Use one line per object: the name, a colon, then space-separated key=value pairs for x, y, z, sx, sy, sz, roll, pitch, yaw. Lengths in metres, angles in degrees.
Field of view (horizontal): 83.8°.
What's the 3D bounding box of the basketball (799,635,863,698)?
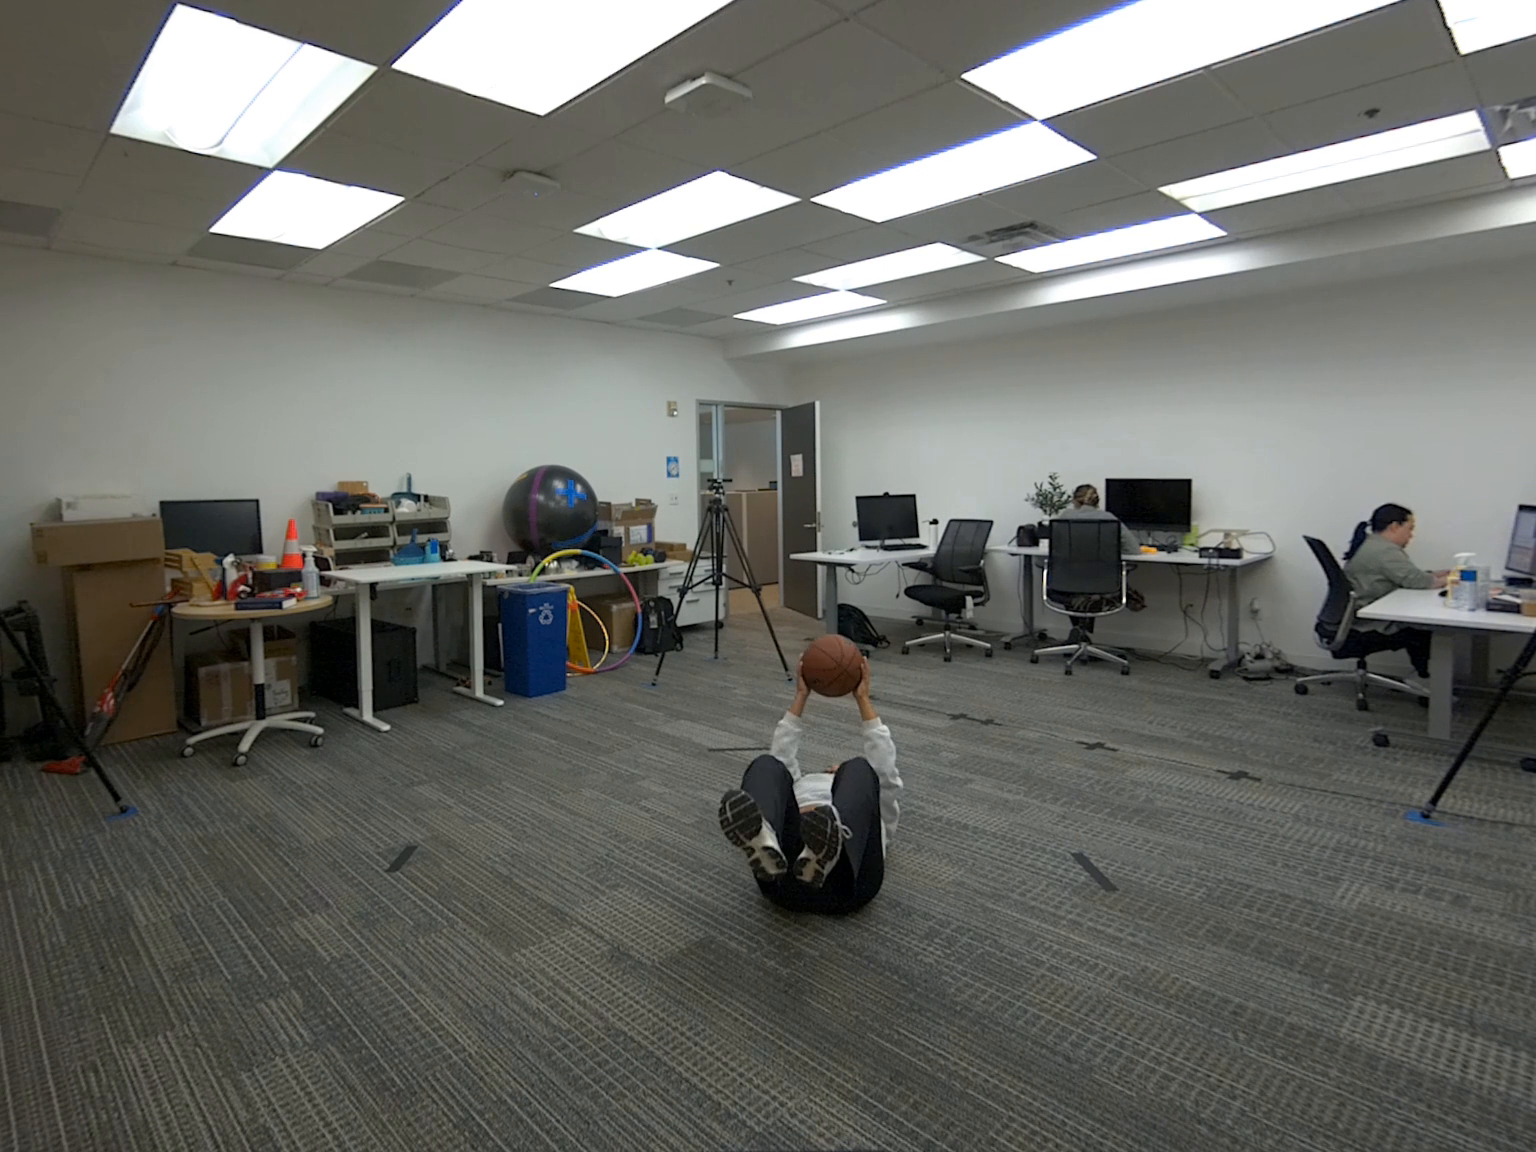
basketball: x=0.255 y=0.360 z=3.268 sx=0.236 sy=0.235 sz=0.237 roll=-1 pitch=4 yaw=-2
